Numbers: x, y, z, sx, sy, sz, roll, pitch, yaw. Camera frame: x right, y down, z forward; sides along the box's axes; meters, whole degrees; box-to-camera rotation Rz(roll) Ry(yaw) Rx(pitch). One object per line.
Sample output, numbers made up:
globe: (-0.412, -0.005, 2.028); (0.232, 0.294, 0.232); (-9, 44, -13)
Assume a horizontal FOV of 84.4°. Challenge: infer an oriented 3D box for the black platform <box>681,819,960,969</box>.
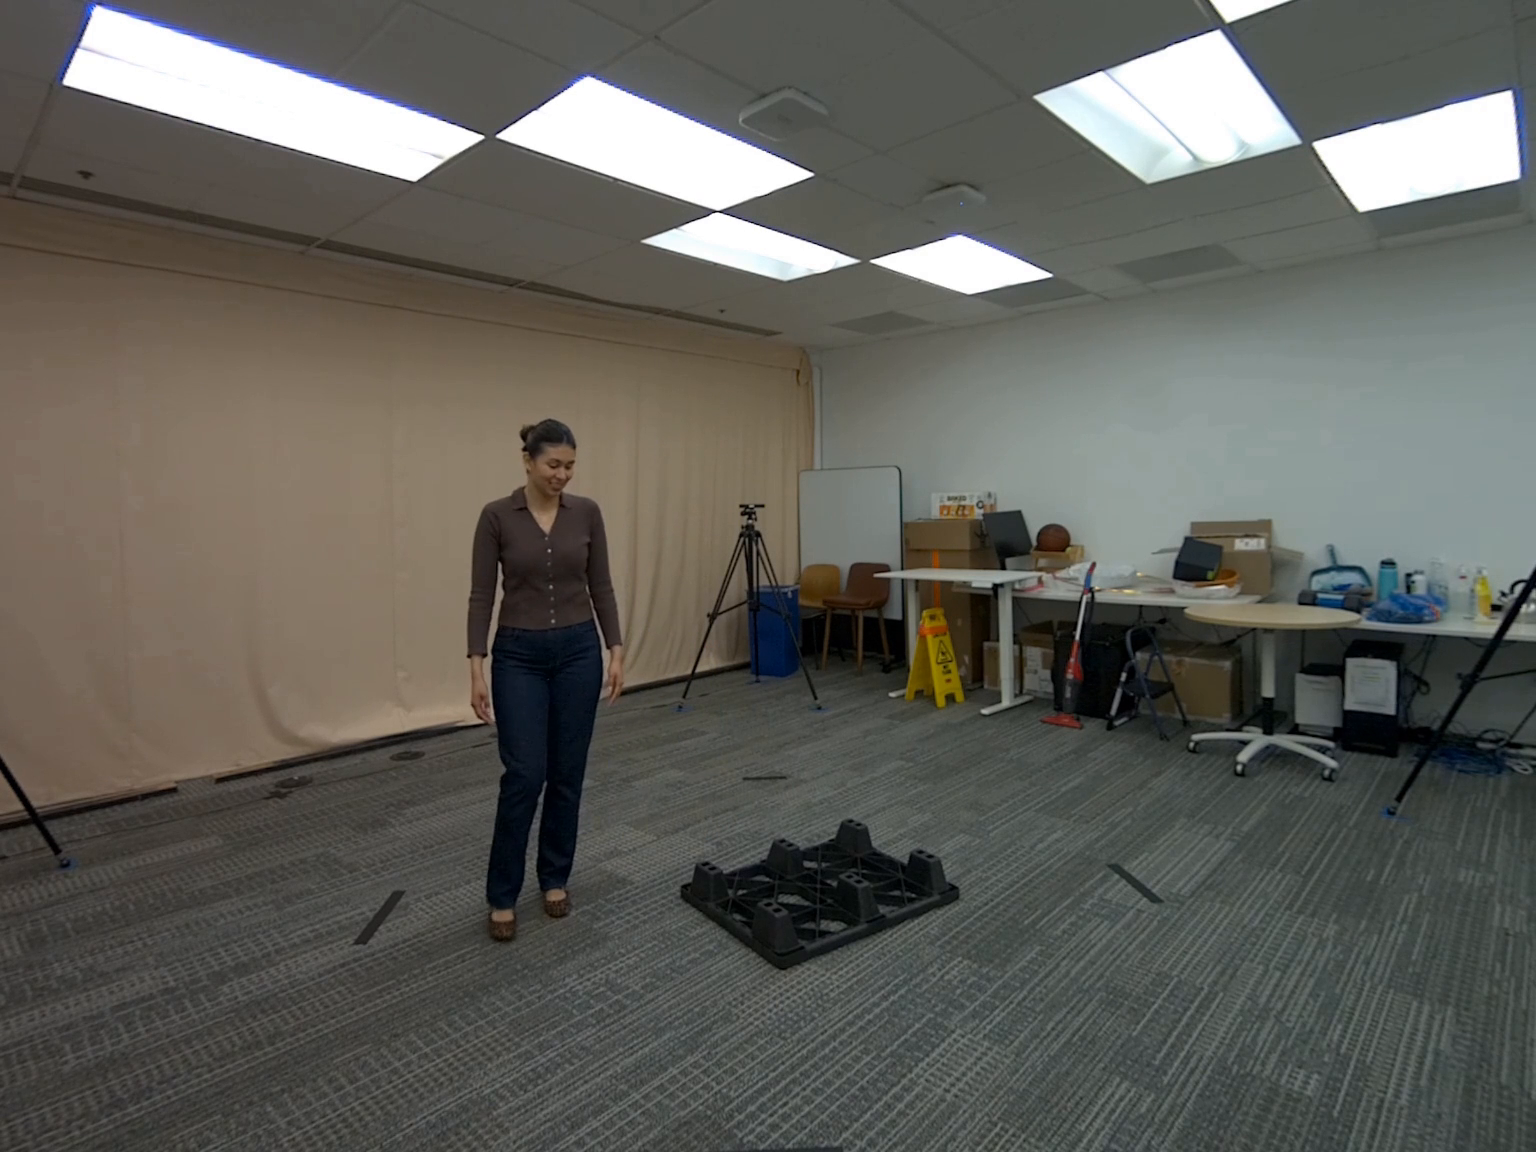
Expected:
black platform: (0.182, 1.069, 2.975); (0.782, 0.143, 0.624); (-4, 6, -35)
